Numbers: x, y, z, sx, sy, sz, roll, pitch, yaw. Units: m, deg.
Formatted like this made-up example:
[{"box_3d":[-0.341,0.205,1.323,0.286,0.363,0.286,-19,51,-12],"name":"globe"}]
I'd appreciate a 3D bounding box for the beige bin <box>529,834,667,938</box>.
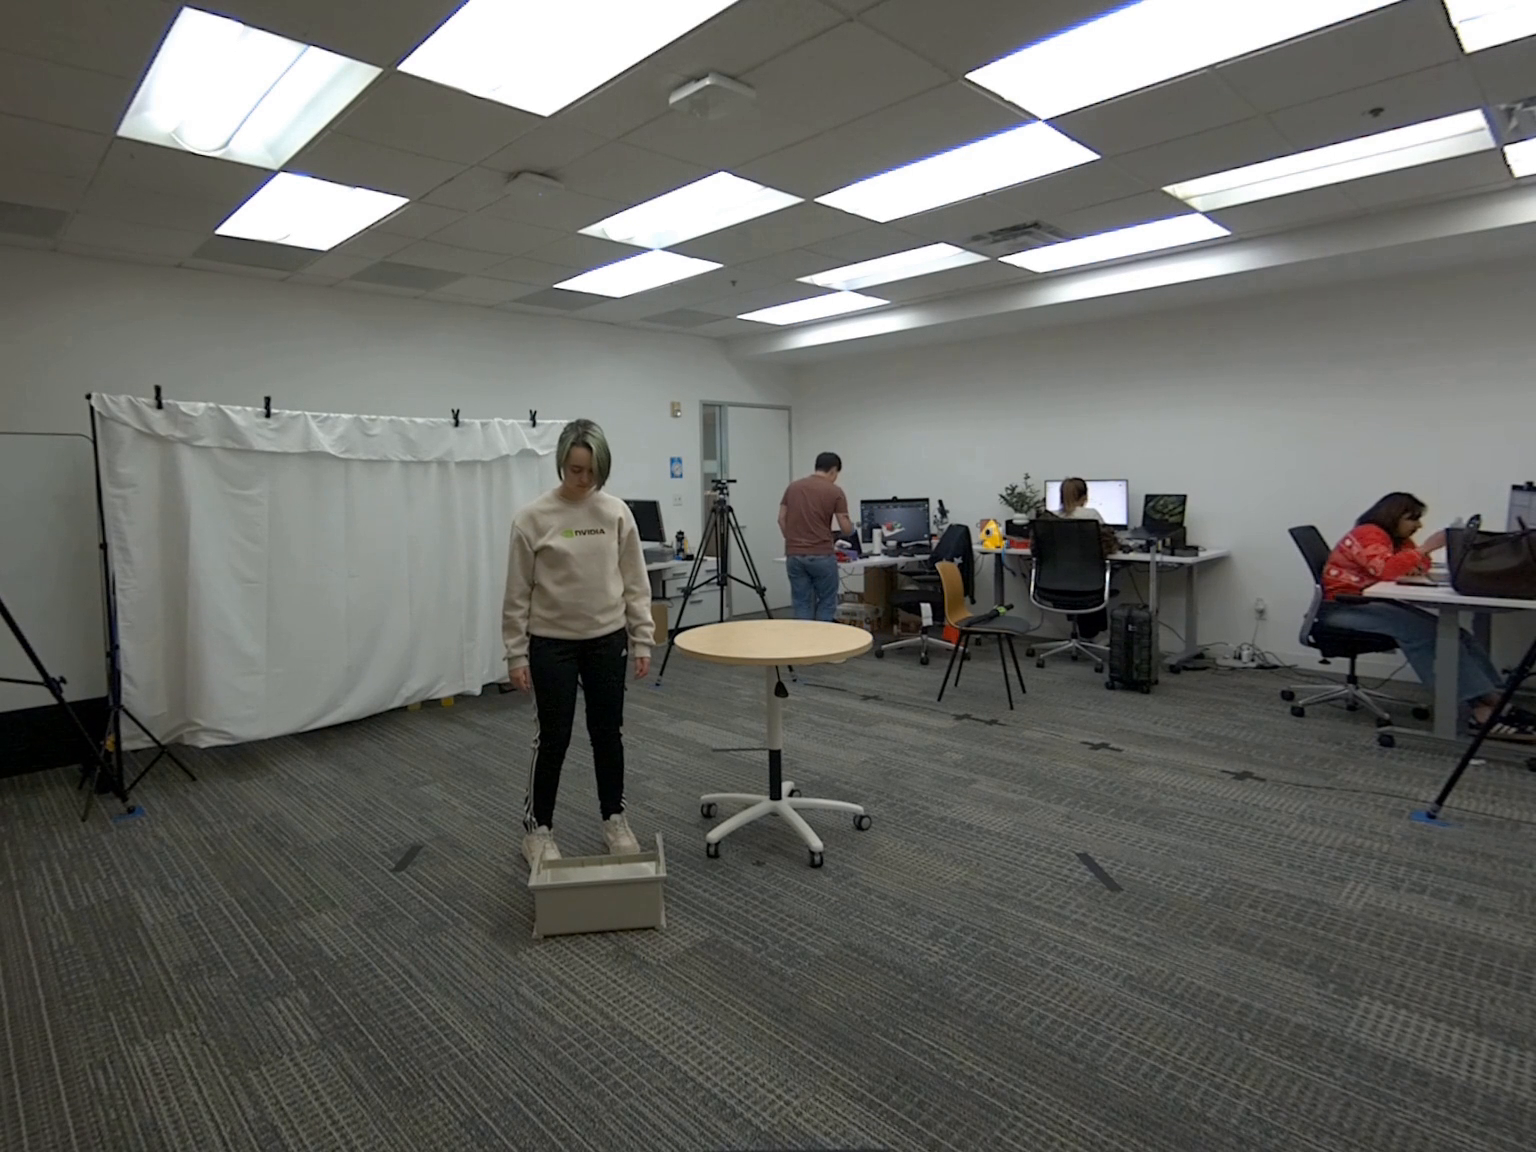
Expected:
[{"box_3d":[-0.553,1.005,2.811,0.419,0.188,0.382,-1,7,-9],"name":"beige bin"}]
